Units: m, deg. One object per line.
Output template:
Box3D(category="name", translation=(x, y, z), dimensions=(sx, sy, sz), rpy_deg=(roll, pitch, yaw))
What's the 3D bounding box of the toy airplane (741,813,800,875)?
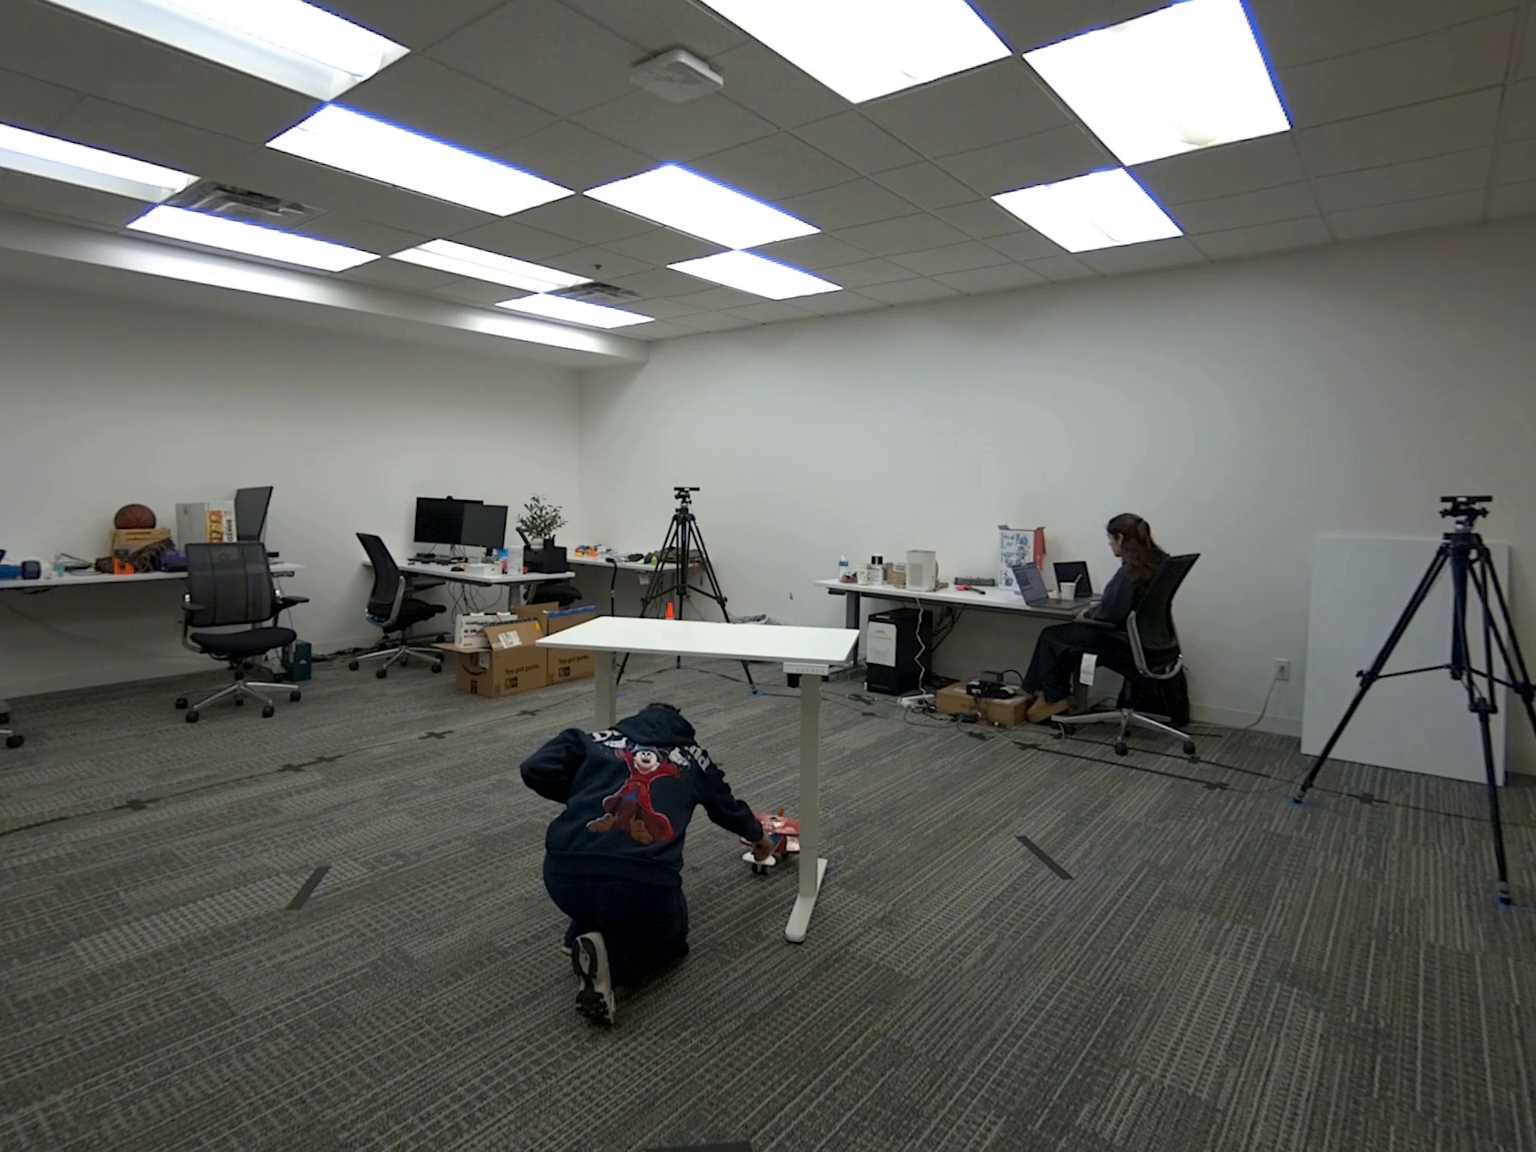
Box3D(category="toy airplane", translation=(0.018, 0.994, 3.150), dimensions=(0.249, 0.156, 0.262), rpy_deg=(1, 4, -8))
